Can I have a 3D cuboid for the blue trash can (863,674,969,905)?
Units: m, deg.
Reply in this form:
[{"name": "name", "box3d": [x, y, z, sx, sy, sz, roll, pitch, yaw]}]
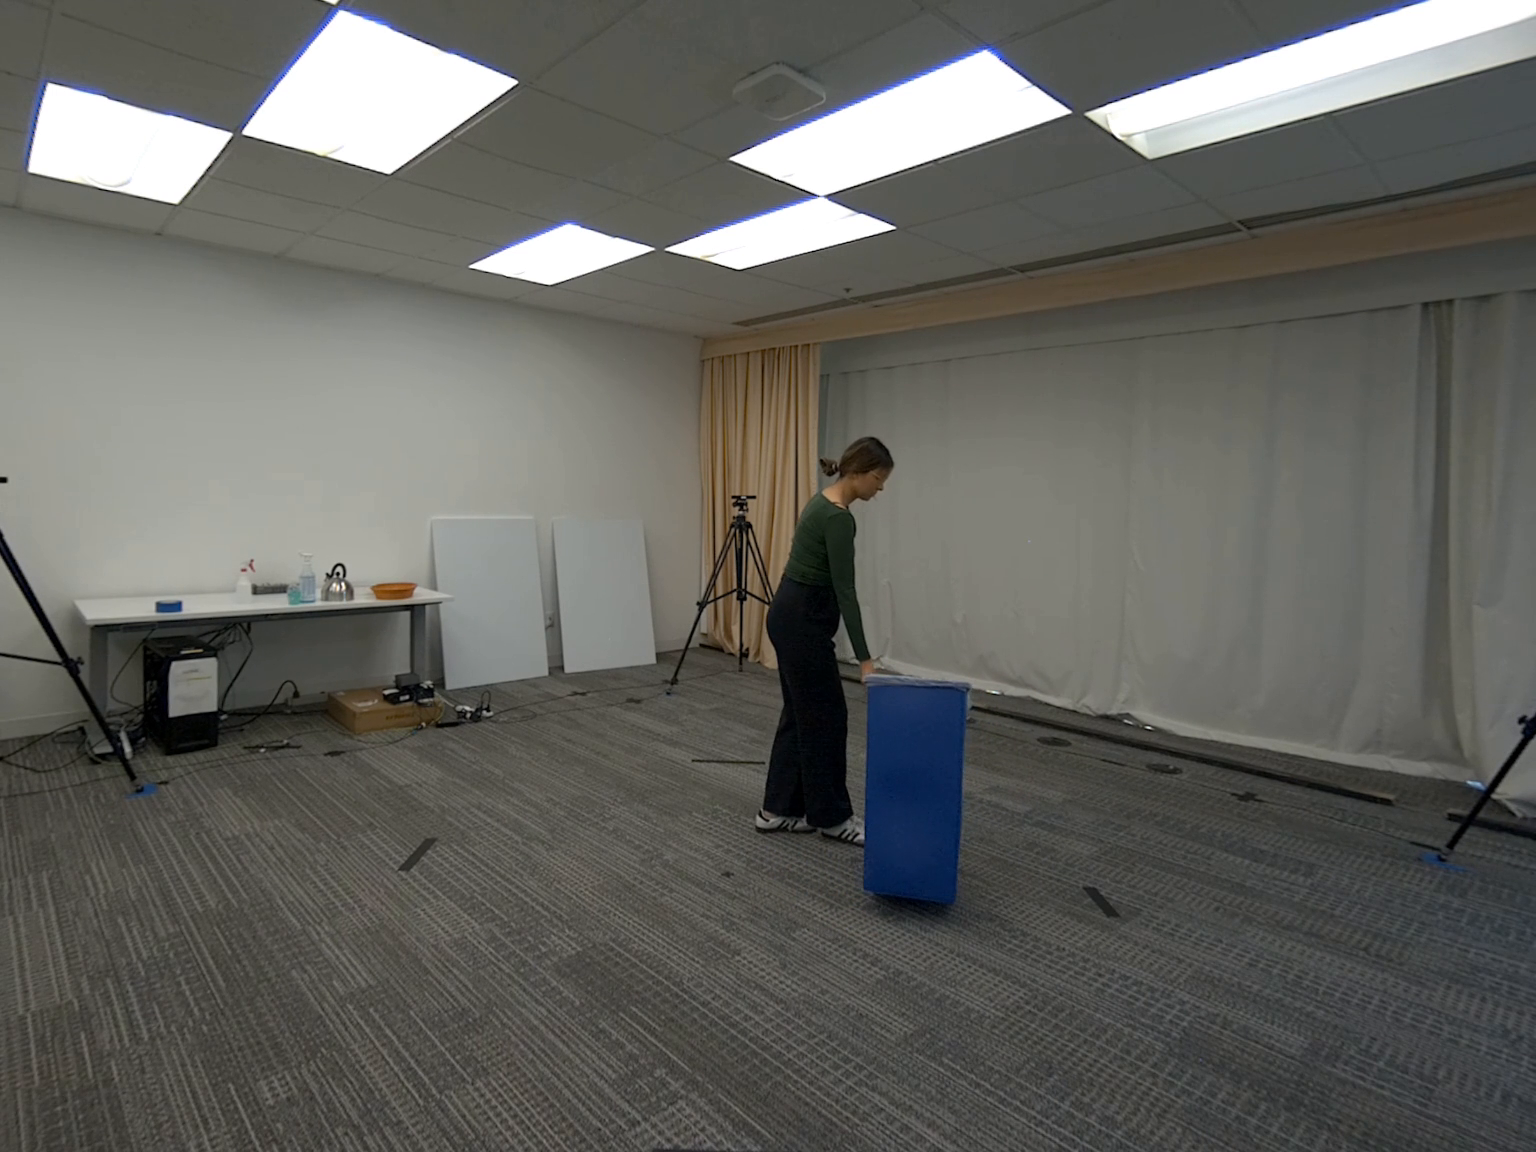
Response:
[{"name": "blue trash can", "box3d": [0.521, 0.742, 2.981, 0.382, 0.720, 0.366, 2, -14, 13]}]
